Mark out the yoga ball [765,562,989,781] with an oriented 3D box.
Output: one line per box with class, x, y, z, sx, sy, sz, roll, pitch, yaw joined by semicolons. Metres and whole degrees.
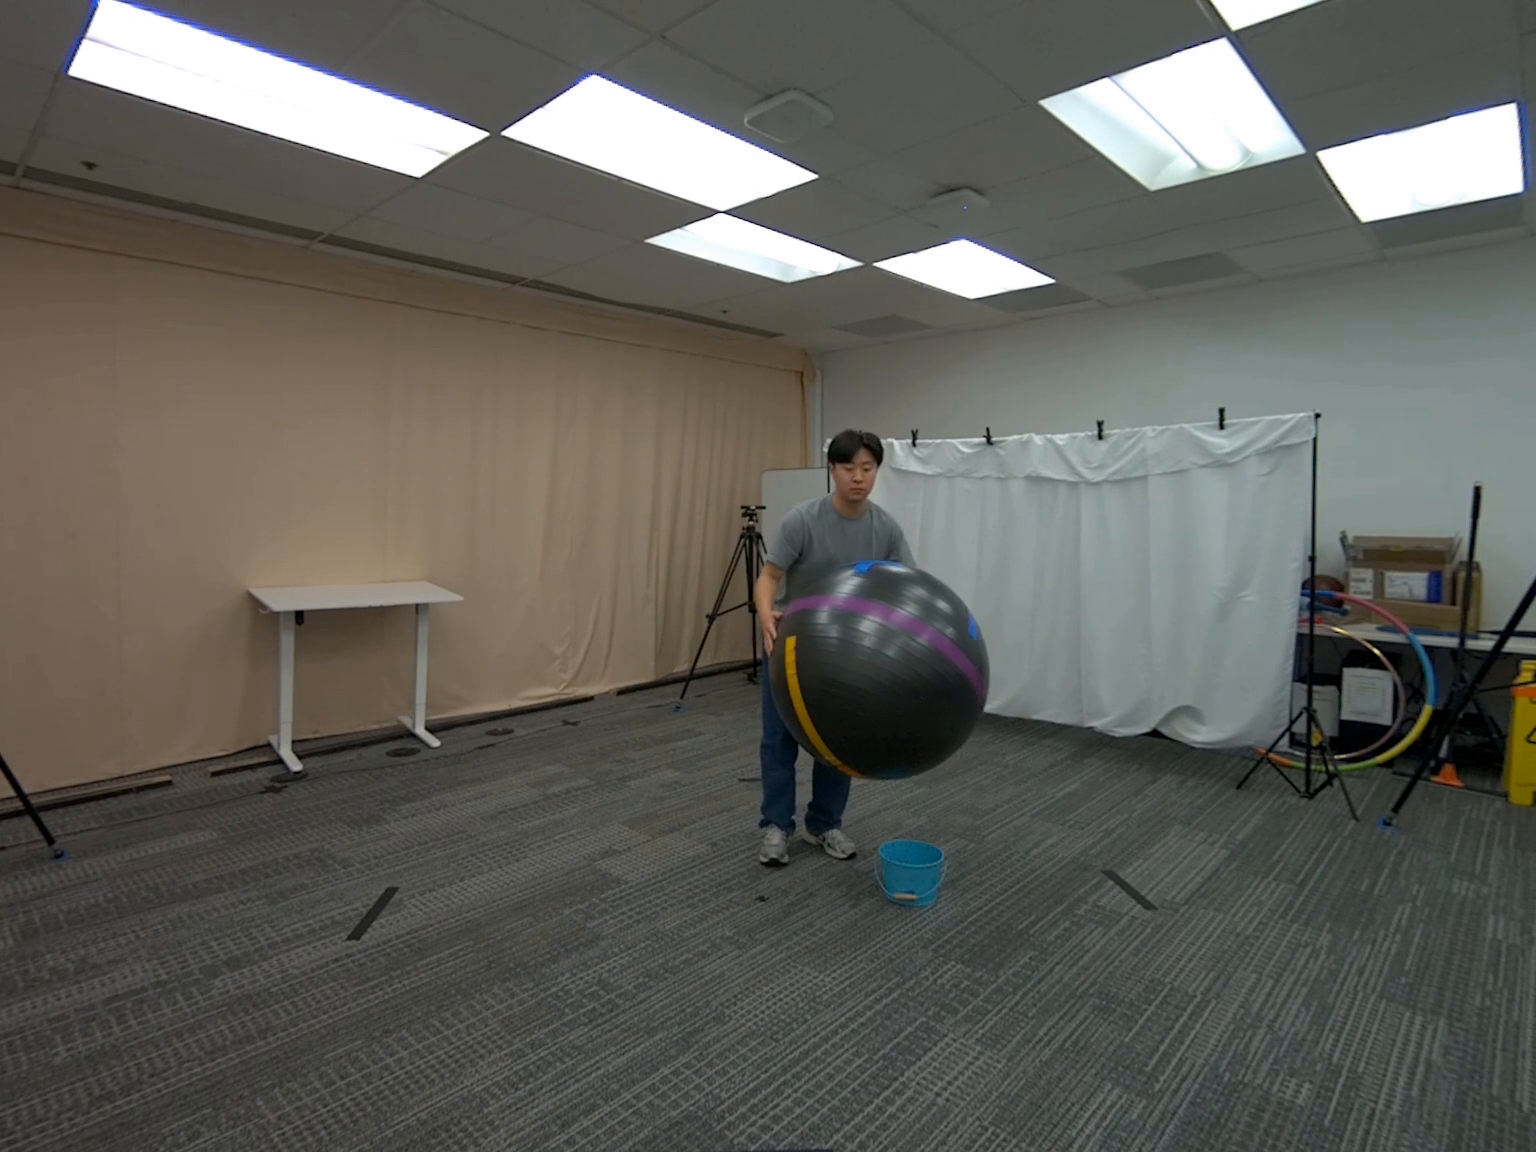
yoga ball;0.372;0.340;2.959;0.757;0.756;0.760;0;4;-2
